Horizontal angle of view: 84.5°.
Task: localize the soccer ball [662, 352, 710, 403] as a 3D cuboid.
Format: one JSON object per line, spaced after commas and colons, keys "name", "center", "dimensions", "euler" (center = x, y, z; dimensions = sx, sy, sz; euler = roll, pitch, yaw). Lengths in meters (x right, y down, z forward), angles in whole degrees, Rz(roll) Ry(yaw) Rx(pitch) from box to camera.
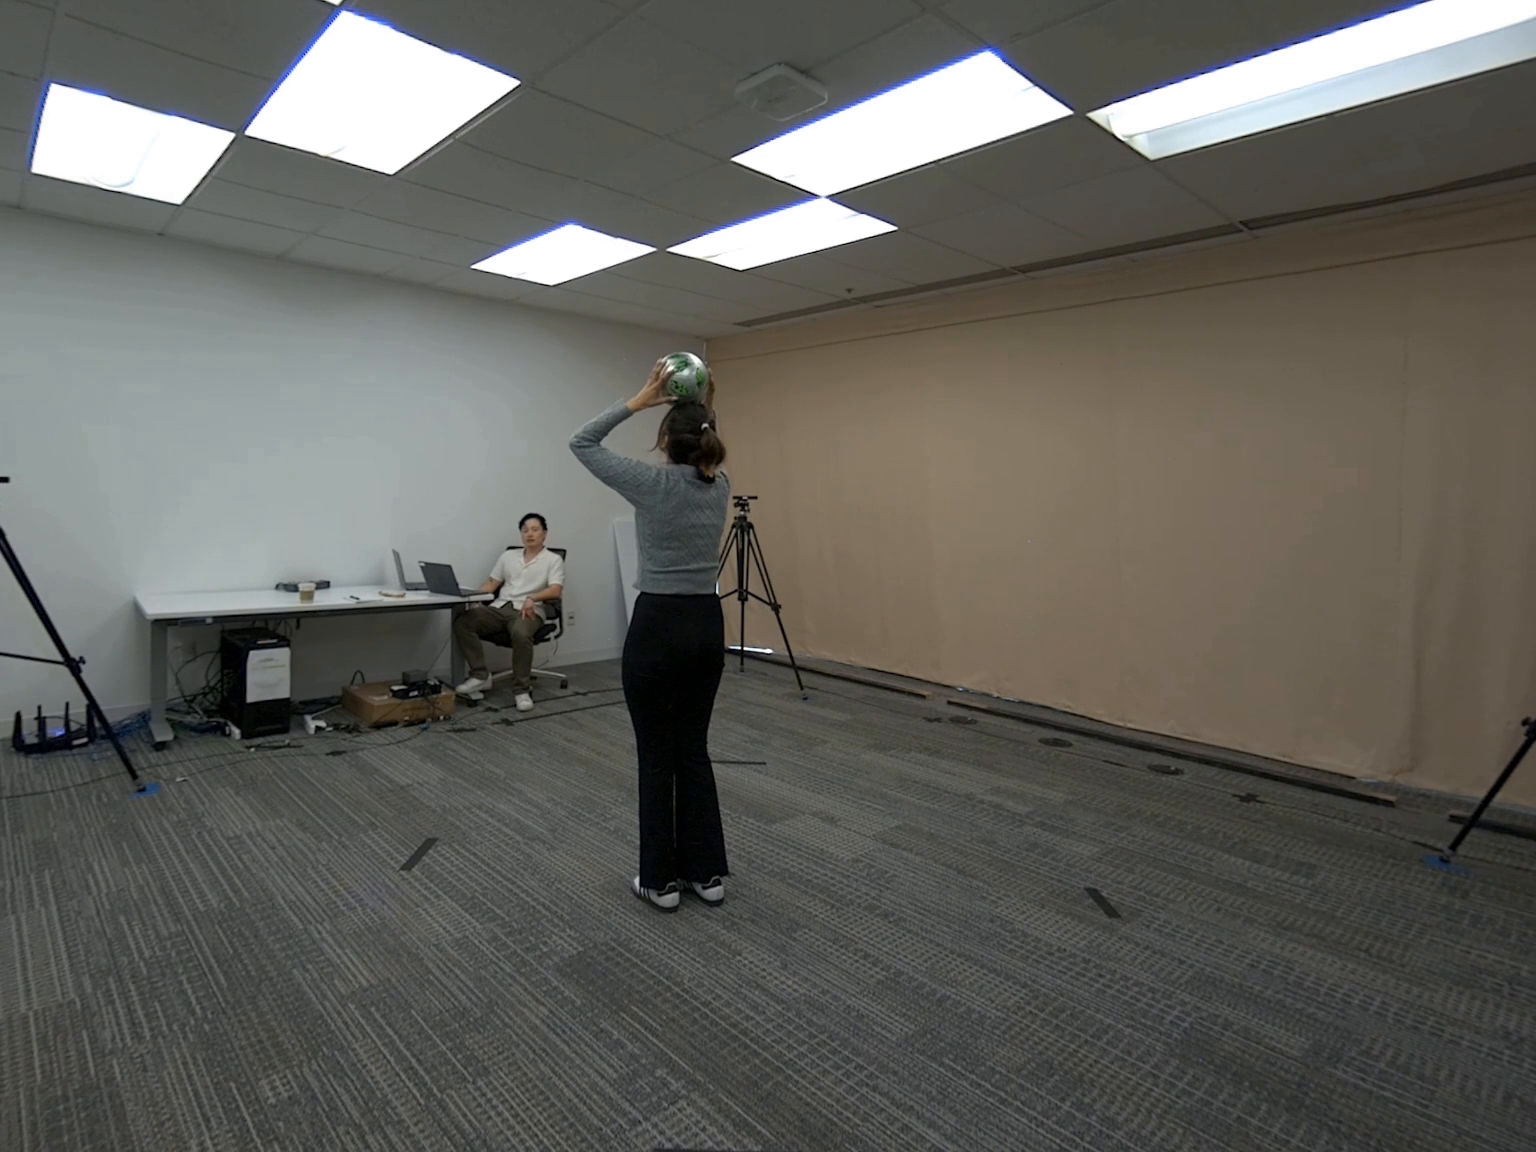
{"name": "soccer ball", "center": [-0.306, -0.666, 2.859], "dimensions": [0.187, 0.187, 0.188], "euler": [1, 4, -1]}
